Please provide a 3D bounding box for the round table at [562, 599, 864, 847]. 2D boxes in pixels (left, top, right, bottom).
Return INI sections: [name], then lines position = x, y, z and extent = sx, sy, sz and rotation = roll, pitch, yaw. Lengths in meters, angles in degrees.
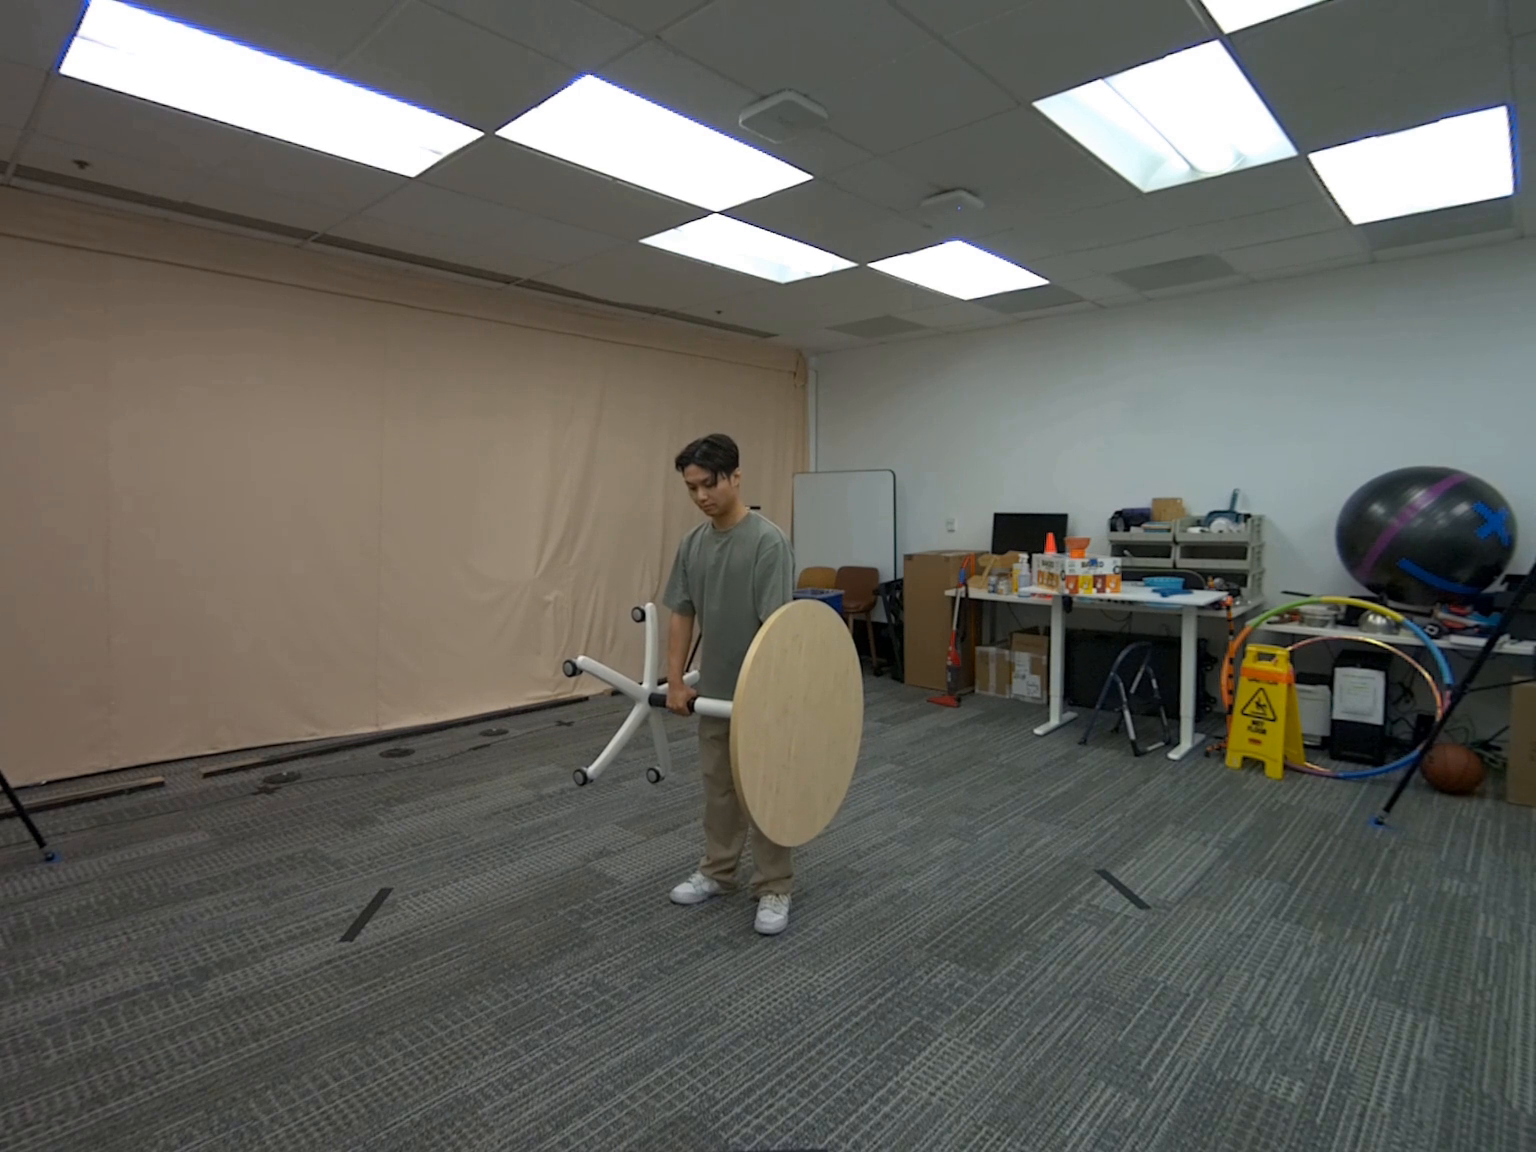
[round table]
position = -0.208, 0.461, 2.900
extent = 0.810, 0.784, 0.762
rotation = -1, 3, 35
